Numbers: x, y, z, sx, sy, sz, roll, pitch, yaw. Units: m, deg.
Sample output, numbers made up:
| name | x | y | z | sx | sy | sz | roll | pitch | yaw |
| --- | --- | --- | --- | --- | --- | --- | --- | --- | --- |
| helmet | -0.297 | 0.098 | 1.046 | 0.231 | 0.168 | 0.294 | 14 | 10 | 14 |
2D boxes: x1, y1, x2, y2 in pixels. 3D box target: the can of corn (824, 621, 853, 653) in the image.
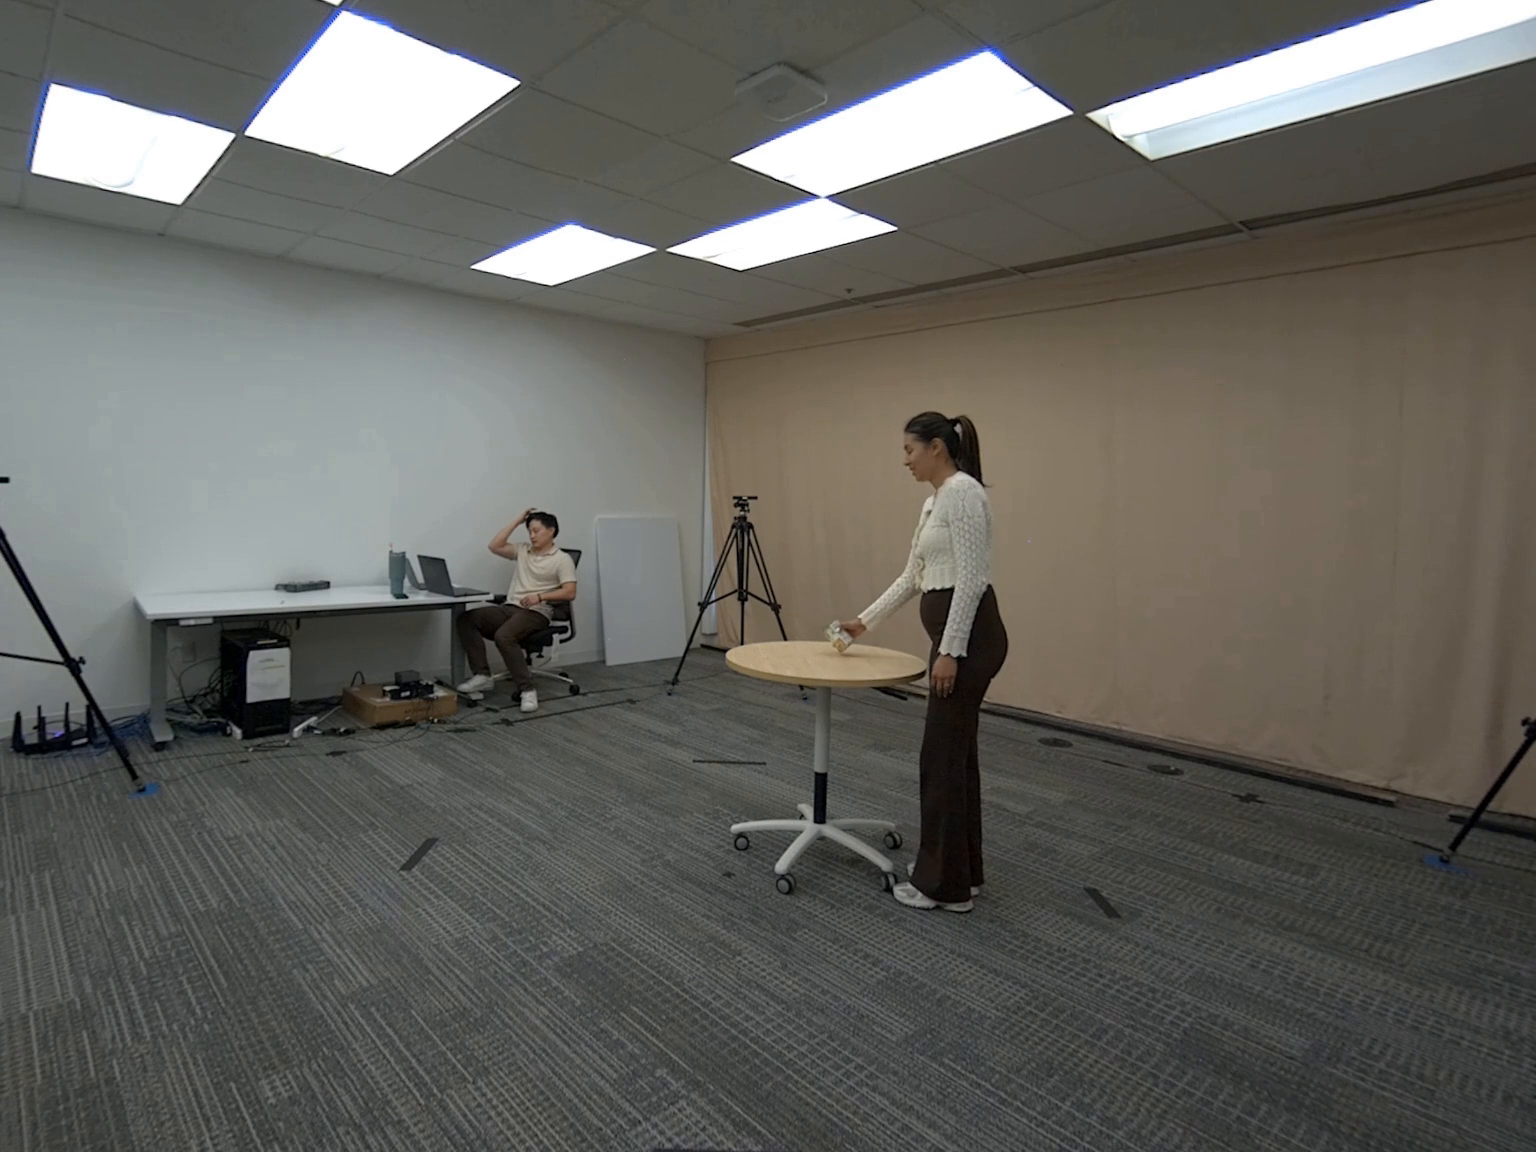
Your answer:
| name | x | y | z | sx | sy | sz | roll | pitch | yaw |
| --- | --- | --- | --- | --- | --- | --- | --- | --- | --- |
| can of corn | 0.266 | 0.240 | 3.307 | 0.074 | 0.112 | 0.074 | -27 | -6 | -4 |
